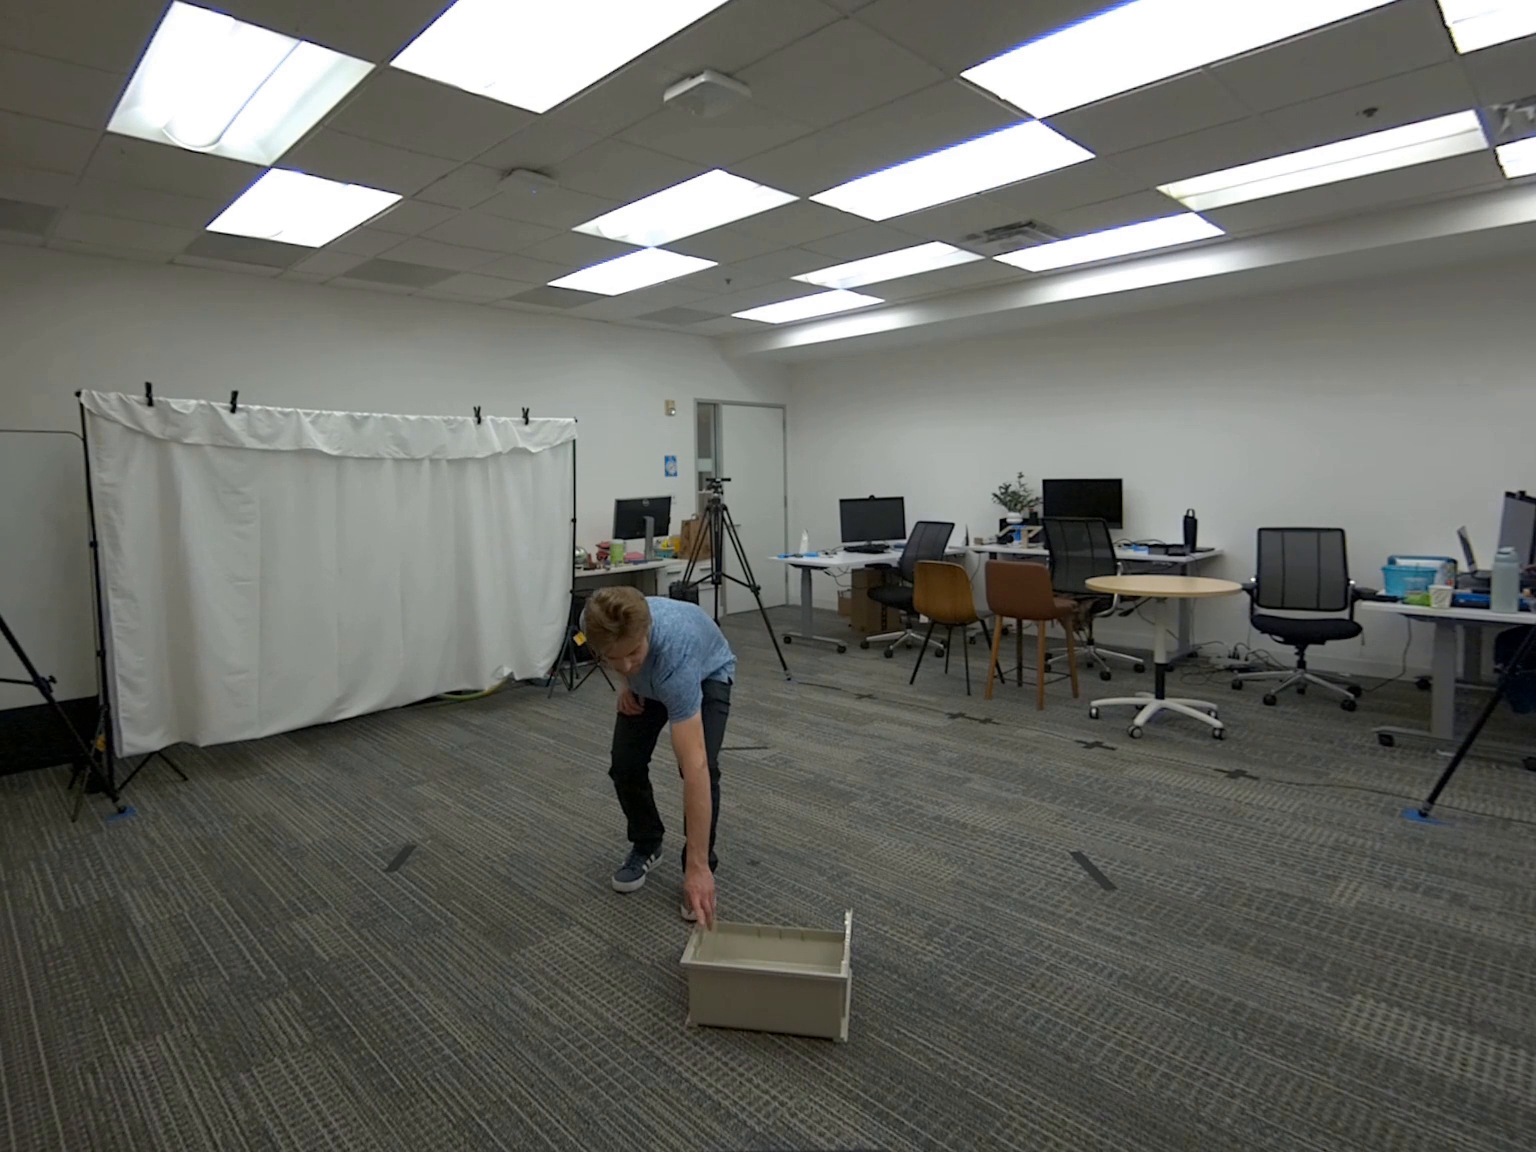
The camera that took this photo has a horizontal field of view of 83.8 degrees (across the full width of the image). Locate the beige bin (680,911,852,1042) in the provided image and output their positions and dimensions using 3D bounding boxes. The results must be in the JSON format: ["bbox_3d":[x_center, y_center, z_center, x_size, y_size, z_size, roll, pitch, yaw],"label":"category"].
[{"bbox_3d":[0.015,1.046,2.312,0.426,0.188,0.376,0,7,9],"label":"beige bin"}]
